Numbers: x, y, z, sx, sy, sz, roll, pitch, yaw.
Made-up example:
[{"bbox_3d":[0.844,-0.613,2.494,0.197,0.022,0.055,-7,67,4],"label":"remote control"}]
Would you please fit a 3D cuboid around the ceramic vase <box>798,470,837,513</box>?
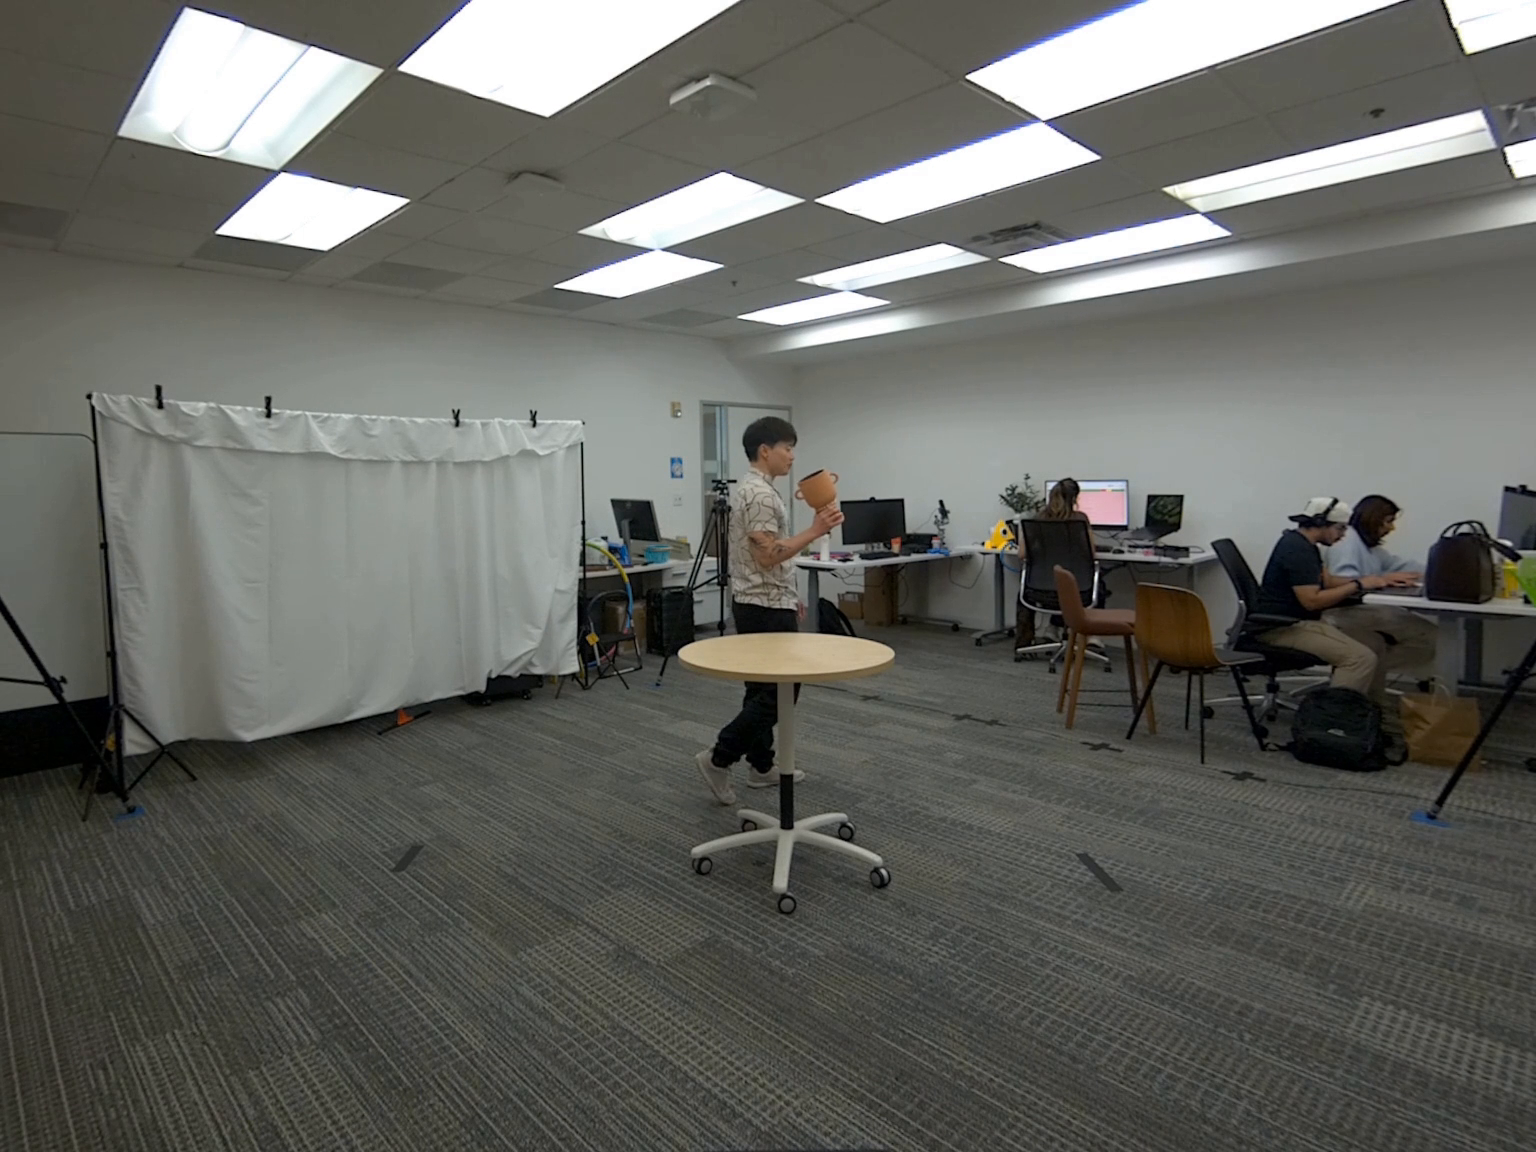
[{"bbox_3d":[0.226,-0.320,3.567,0.162,0.217,0.134,-18,12,38],"label":"ceramic vase"}]
